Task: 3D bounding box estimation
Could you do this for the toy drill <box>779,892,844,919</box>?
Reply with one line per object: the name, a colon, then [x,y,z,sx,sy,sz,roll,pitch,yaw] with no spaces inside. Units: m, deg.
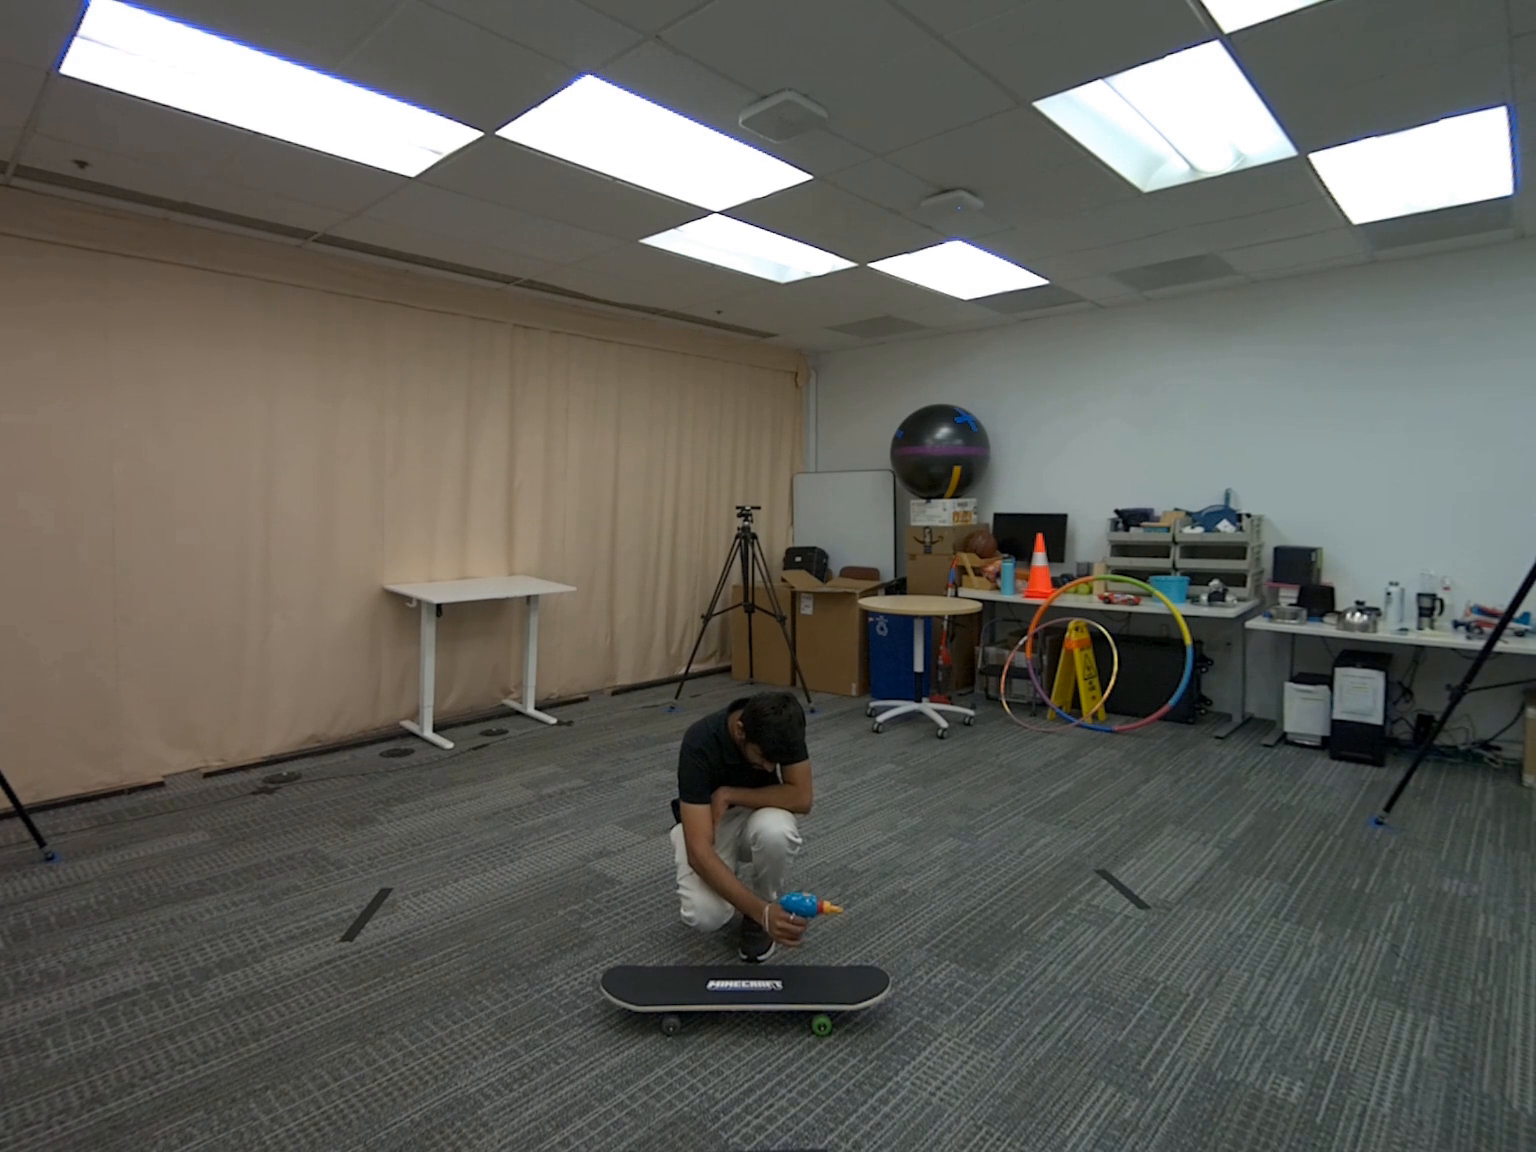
toy drill: [0.113,0.912,2.258,0.169,0.145,0.062,7,14,-3]
